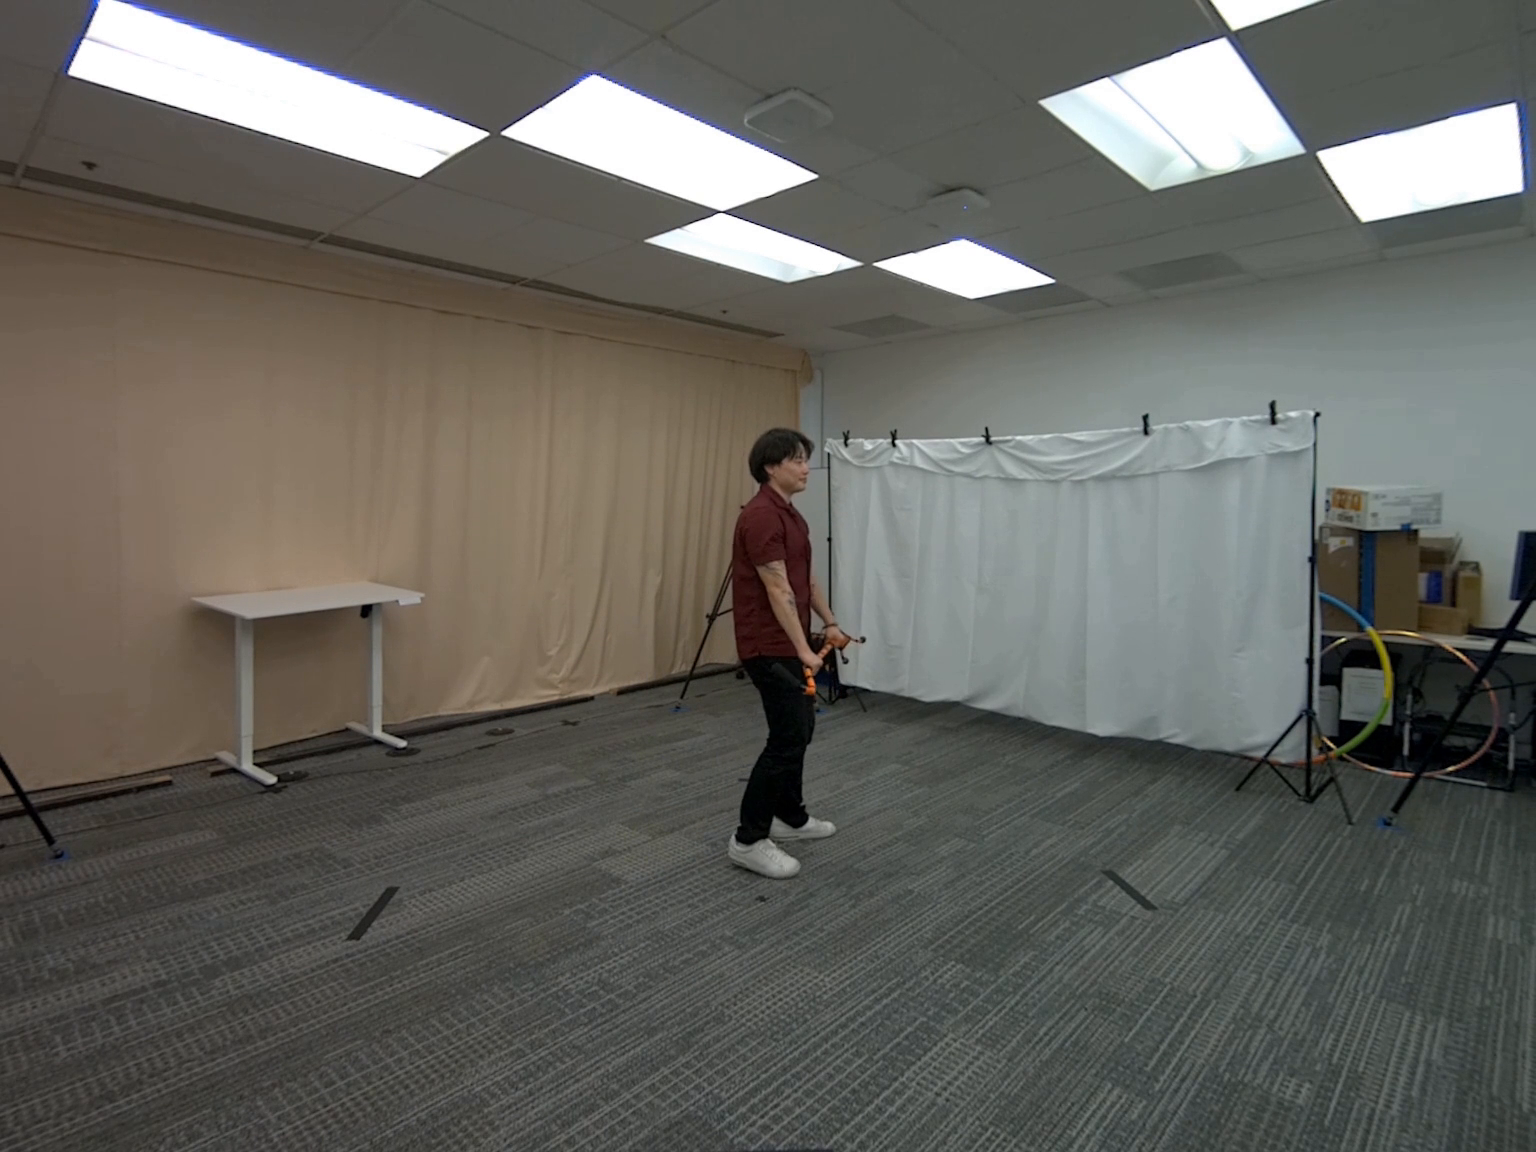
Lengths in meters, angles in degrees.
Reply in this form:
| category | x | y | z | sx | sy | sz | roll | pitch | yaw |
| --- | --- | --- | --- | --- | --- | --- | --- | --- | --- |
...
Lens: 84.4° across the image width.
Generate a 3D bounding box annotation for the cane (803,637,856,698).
| category | x | y | z | sx | sy | sz | roll | pitch | yaw |
| --- | --- | --- | --- | --- | --- | --- | --- | --- | --- |
| cane | 0.240 | 0.316 | 3.253 | 0.208 | 0.152 | 0.899 | 36 | 12 | 5 |
